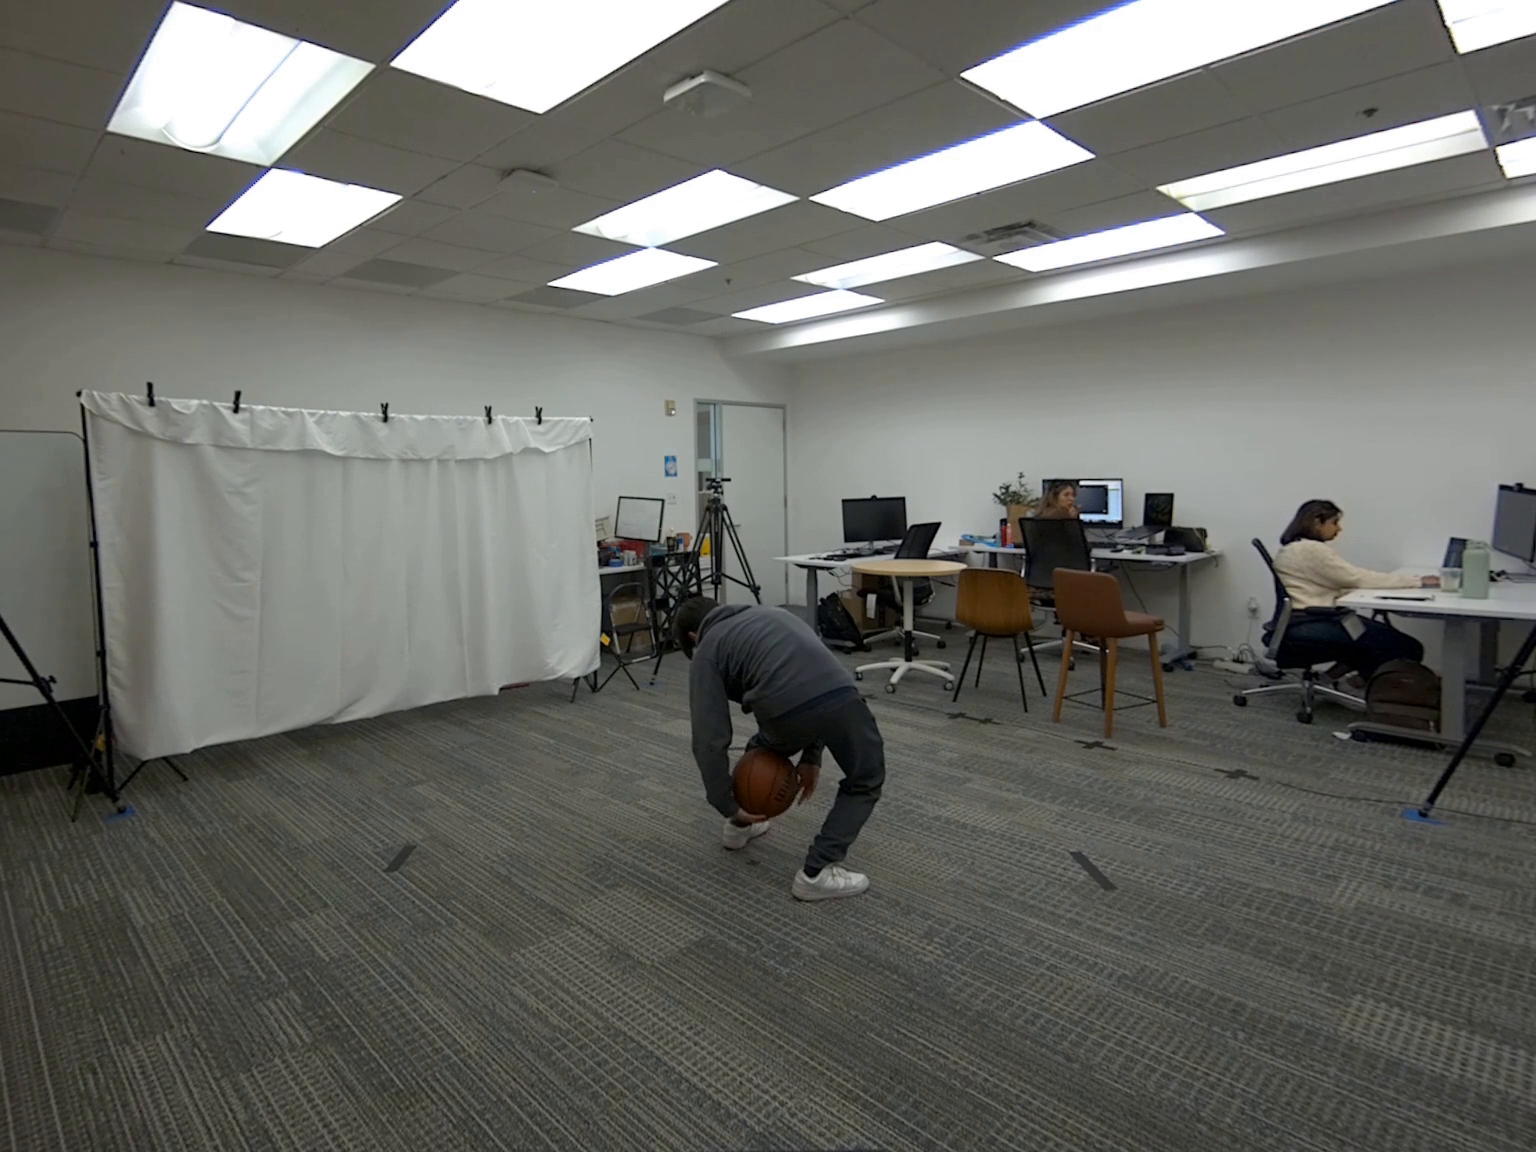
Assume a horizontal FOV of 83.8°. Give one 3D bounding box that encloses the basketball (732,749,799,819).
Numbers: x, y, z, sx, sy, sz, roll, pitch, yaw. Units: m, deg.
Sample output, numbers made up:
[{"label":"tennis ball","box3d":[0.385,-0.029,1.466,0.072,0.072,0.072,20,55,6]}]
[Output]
[{"label":"basketball","box3d":[-0.014,0.724,3.004,0.236,0.235,0.237,-1,5,-2]}]
